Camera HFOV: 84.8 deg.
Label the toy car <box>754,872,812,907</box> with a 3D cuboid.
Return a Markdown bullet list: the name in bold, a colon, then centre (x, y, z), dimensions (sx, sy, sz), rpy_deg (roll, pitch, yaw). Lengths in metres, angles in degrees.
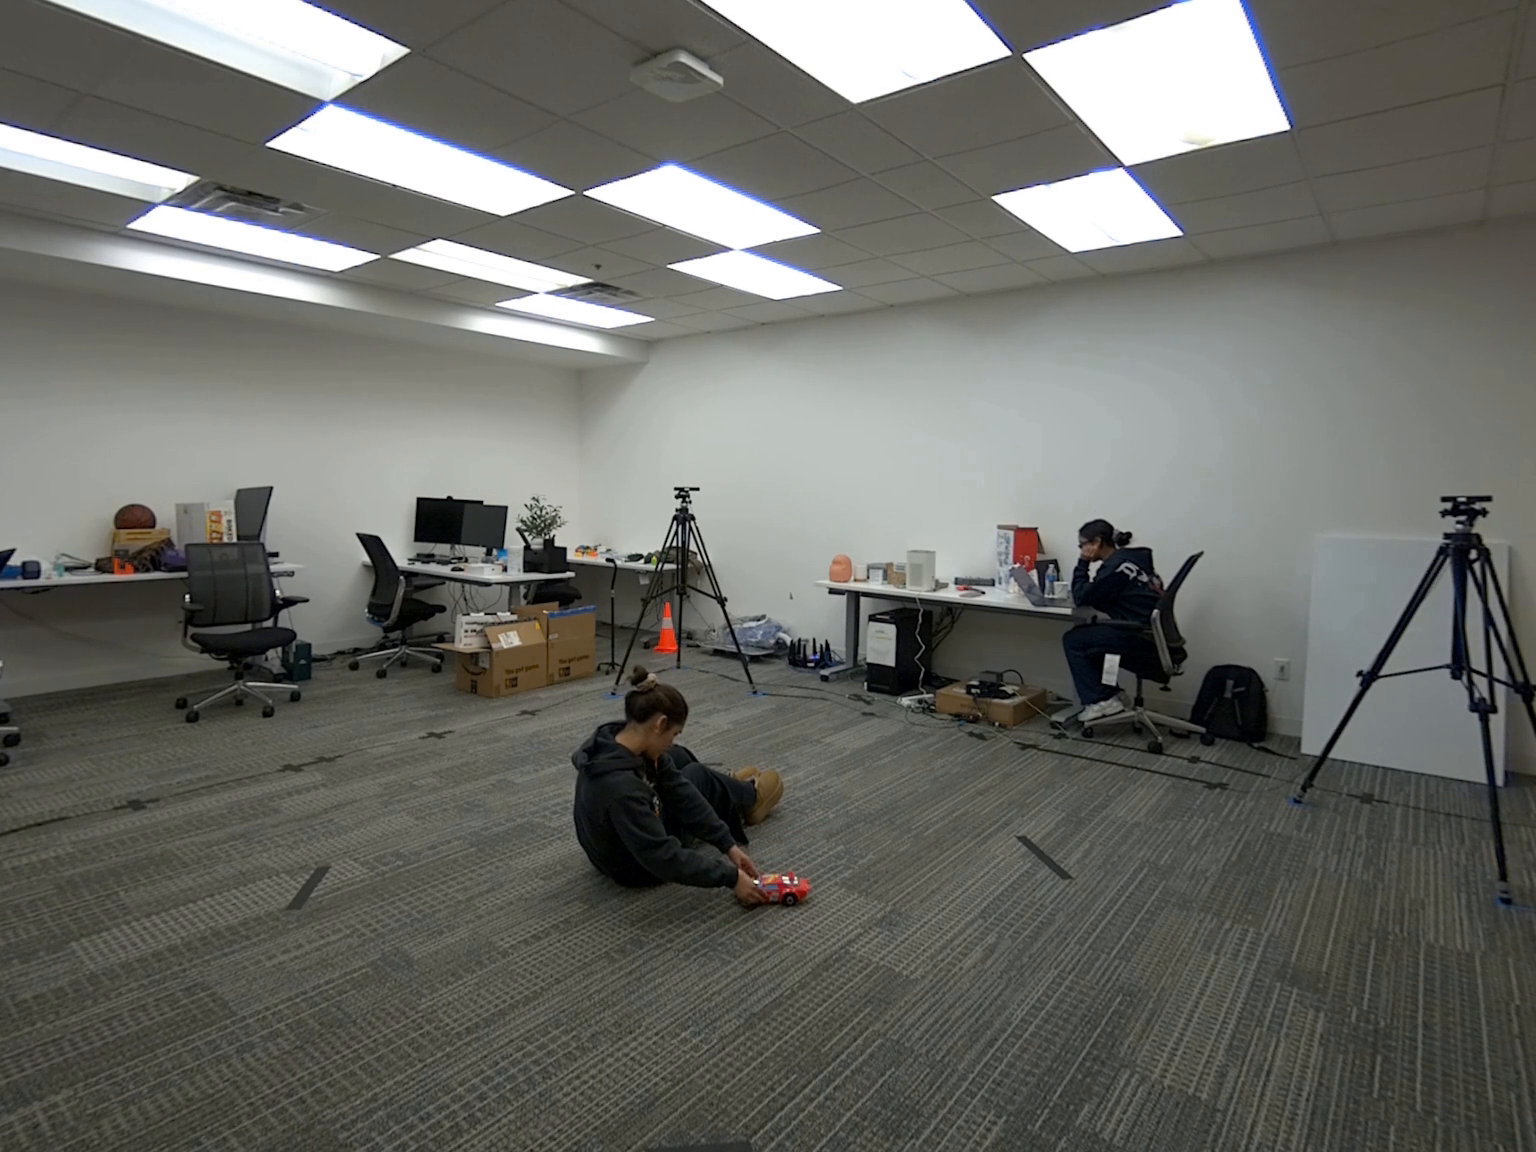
- **toy car**: centre (0.027, 1.061, 2.878), dimensions (0.254, 0.083, 0.131), rpy_deg (-12, 6, -1)
